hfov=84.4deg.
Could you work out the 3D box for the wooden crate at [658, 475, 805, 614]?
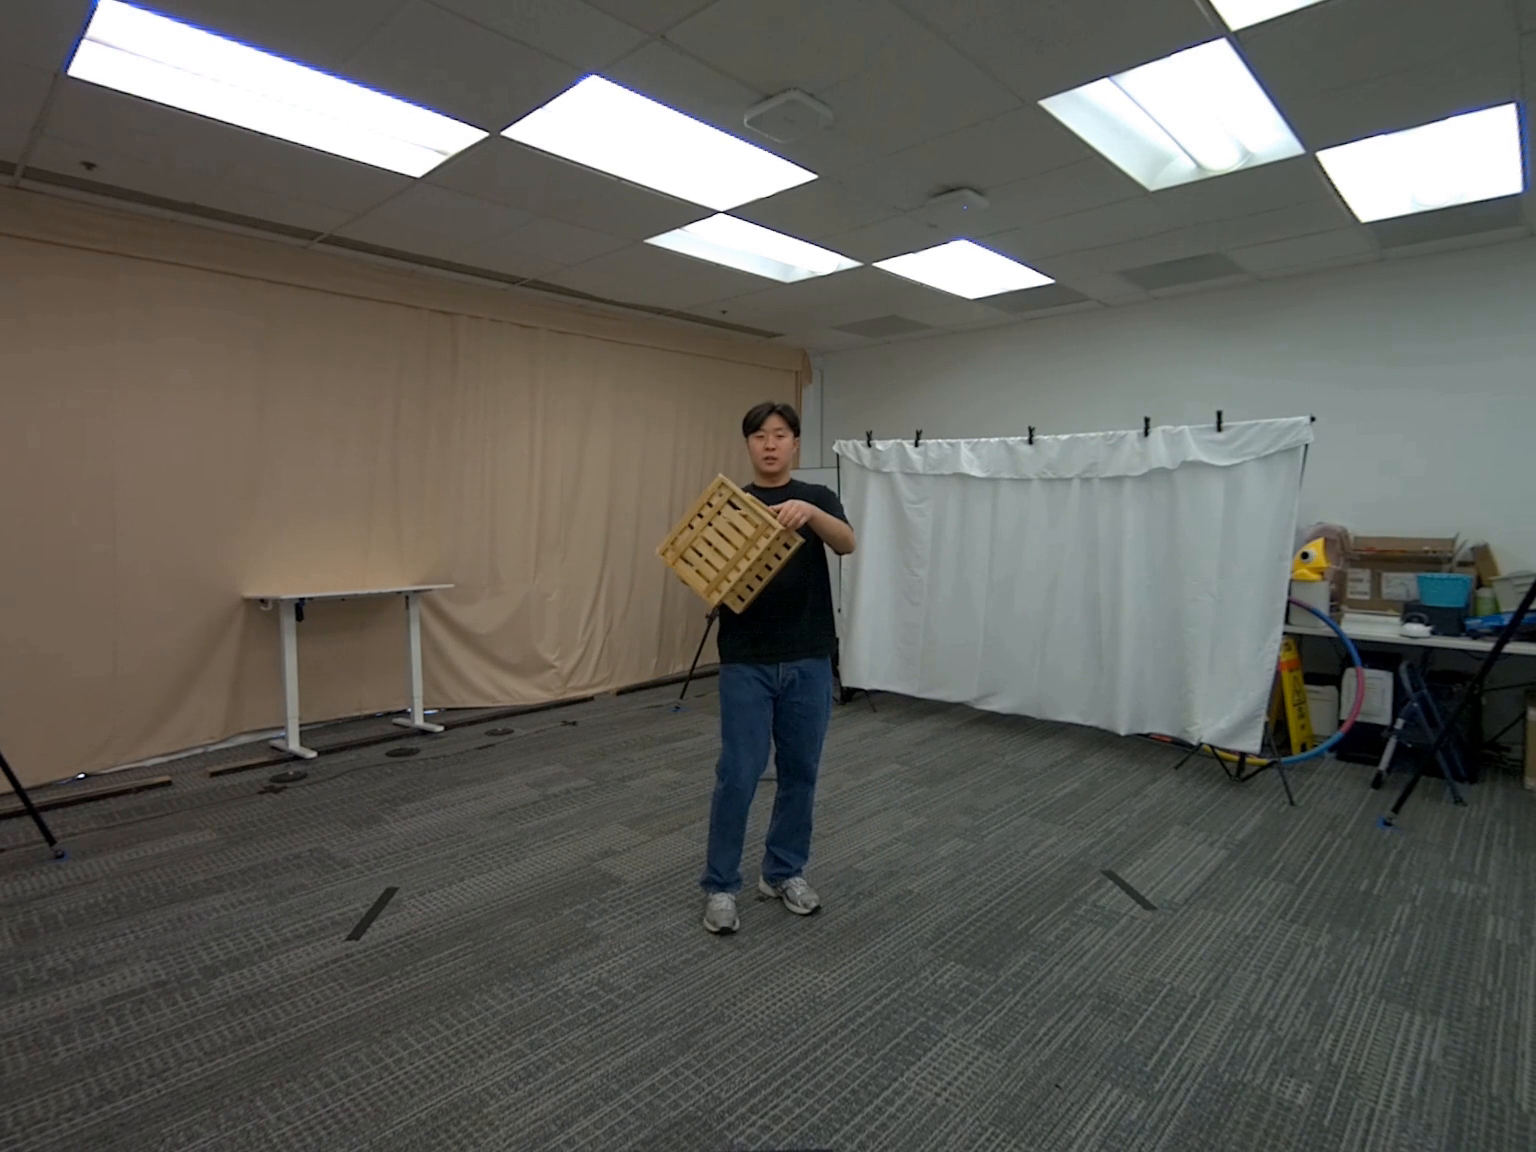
[{"bbox_3d":[-0.113,-0.092,2.553,0.306,0.325,0.270,42,9,8],"label":"wooden crate"}]
